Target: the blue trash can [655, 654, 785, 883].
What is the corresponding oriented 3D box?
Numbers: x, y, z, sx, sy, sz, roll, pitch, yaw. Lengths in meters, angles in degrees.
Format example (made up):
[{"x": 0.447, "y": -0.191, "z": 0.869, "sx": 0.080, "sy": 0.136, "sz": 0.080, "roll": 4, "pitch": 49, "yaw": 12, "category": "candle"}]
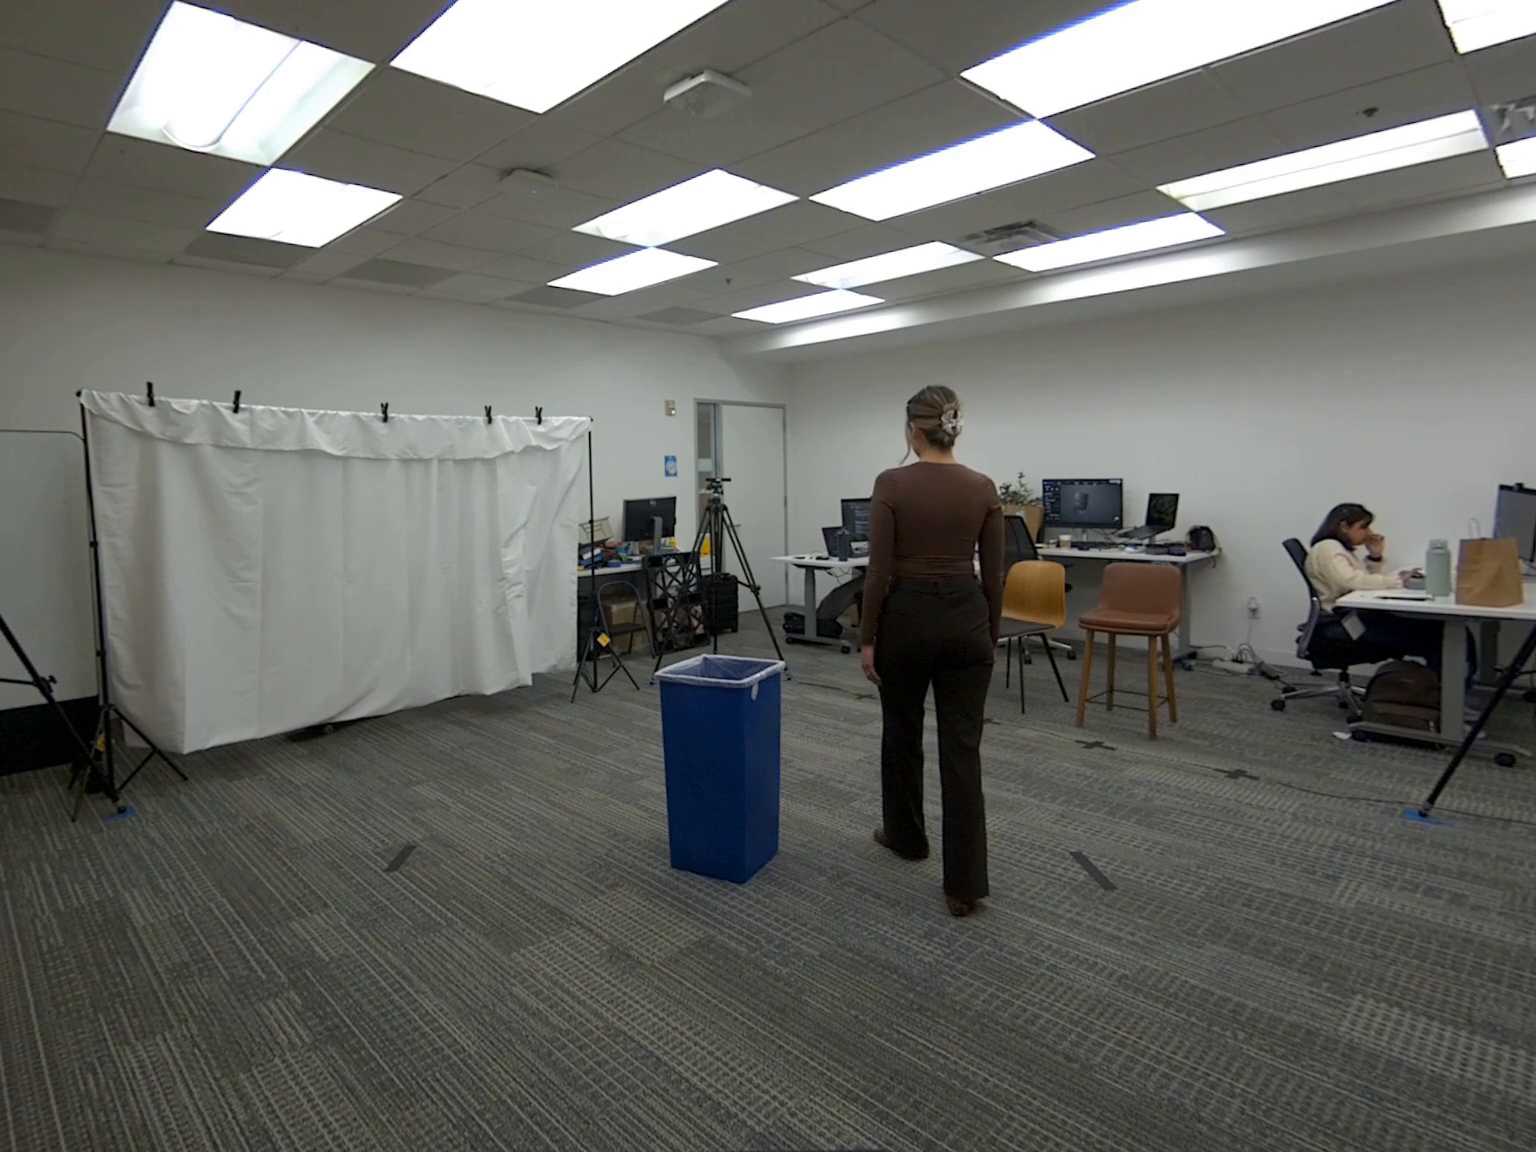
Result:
[{"x": -0.164, "y": 0.682, "z": 3.119, "sx": 0.383, "sy": 0.711, "sz": 0.370, "roll": 2, "pitch": 4, "yaw": 27, "category": "blue trash can"}]
